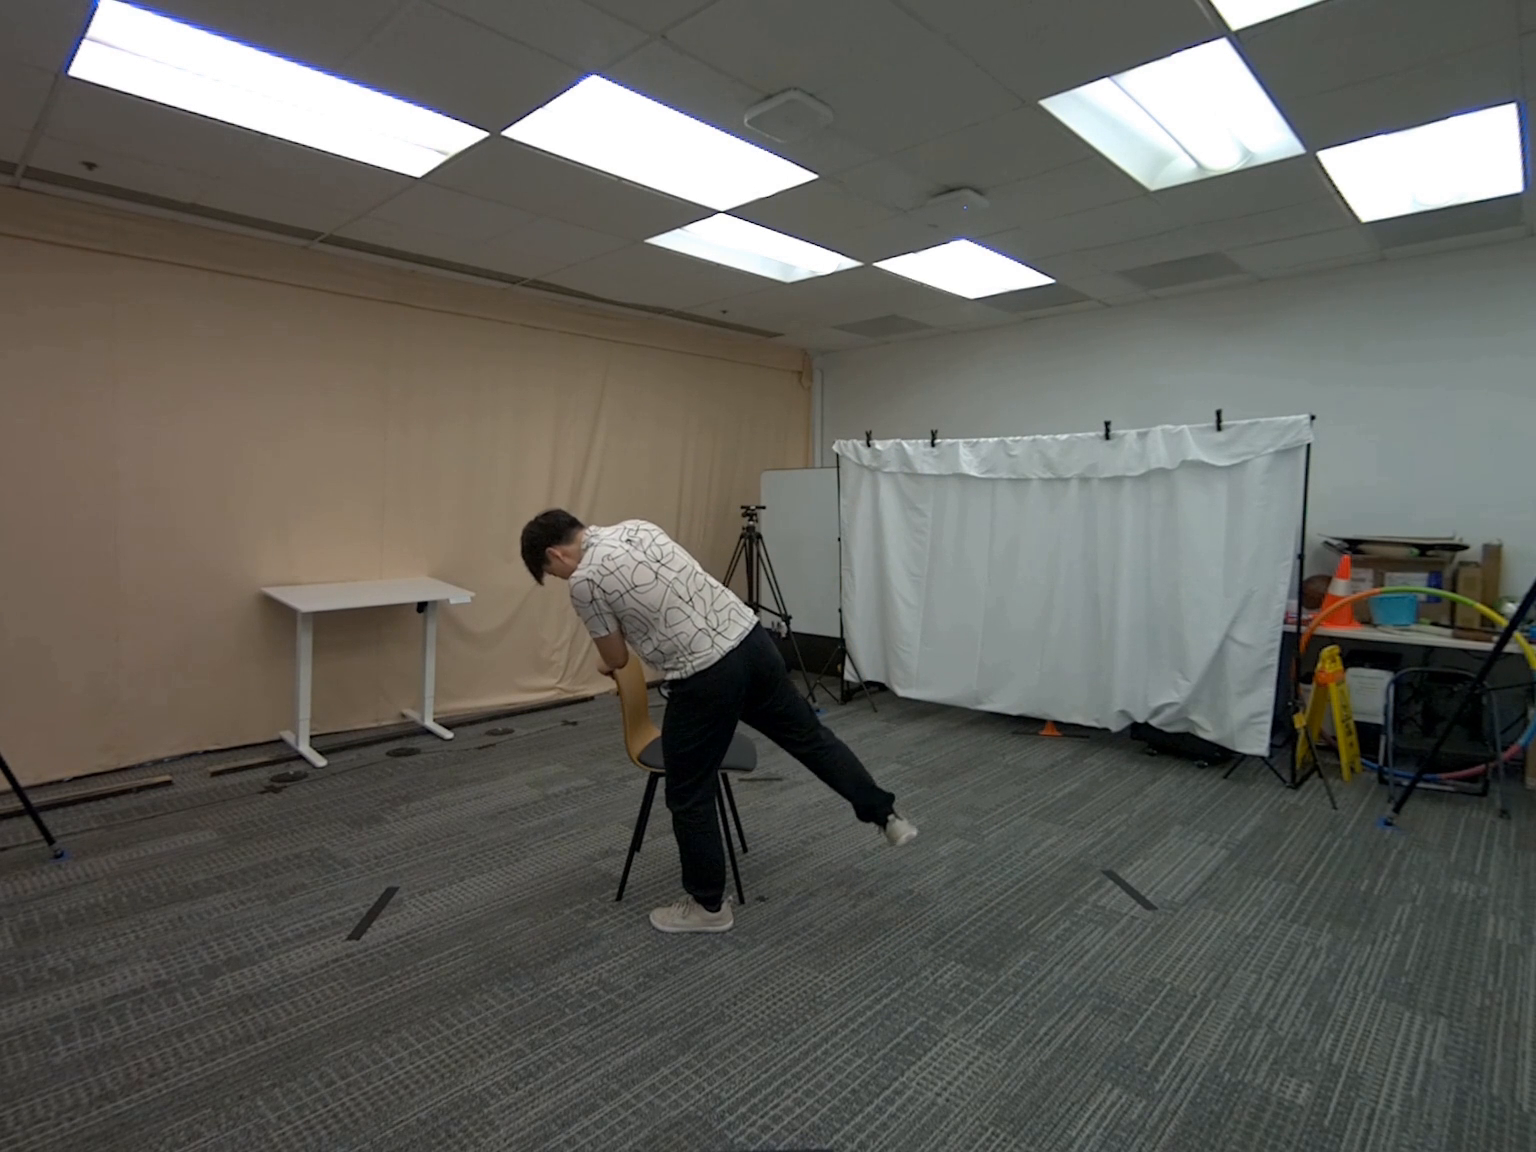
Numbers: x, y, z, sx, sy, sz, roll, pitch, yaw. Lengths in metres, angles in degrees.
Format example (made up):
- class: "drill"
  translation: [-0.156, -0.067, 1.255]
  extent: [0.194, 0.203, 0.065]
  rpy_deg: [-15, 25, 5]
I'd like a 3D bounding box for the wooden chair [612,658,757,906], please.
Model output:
- class: "wooden chair"
  translation: [-0.301, 0.703, 3.148]
  extent: [0.525, 0.875, 0.477]
  rpy_deg: [-5, 3, 3]
